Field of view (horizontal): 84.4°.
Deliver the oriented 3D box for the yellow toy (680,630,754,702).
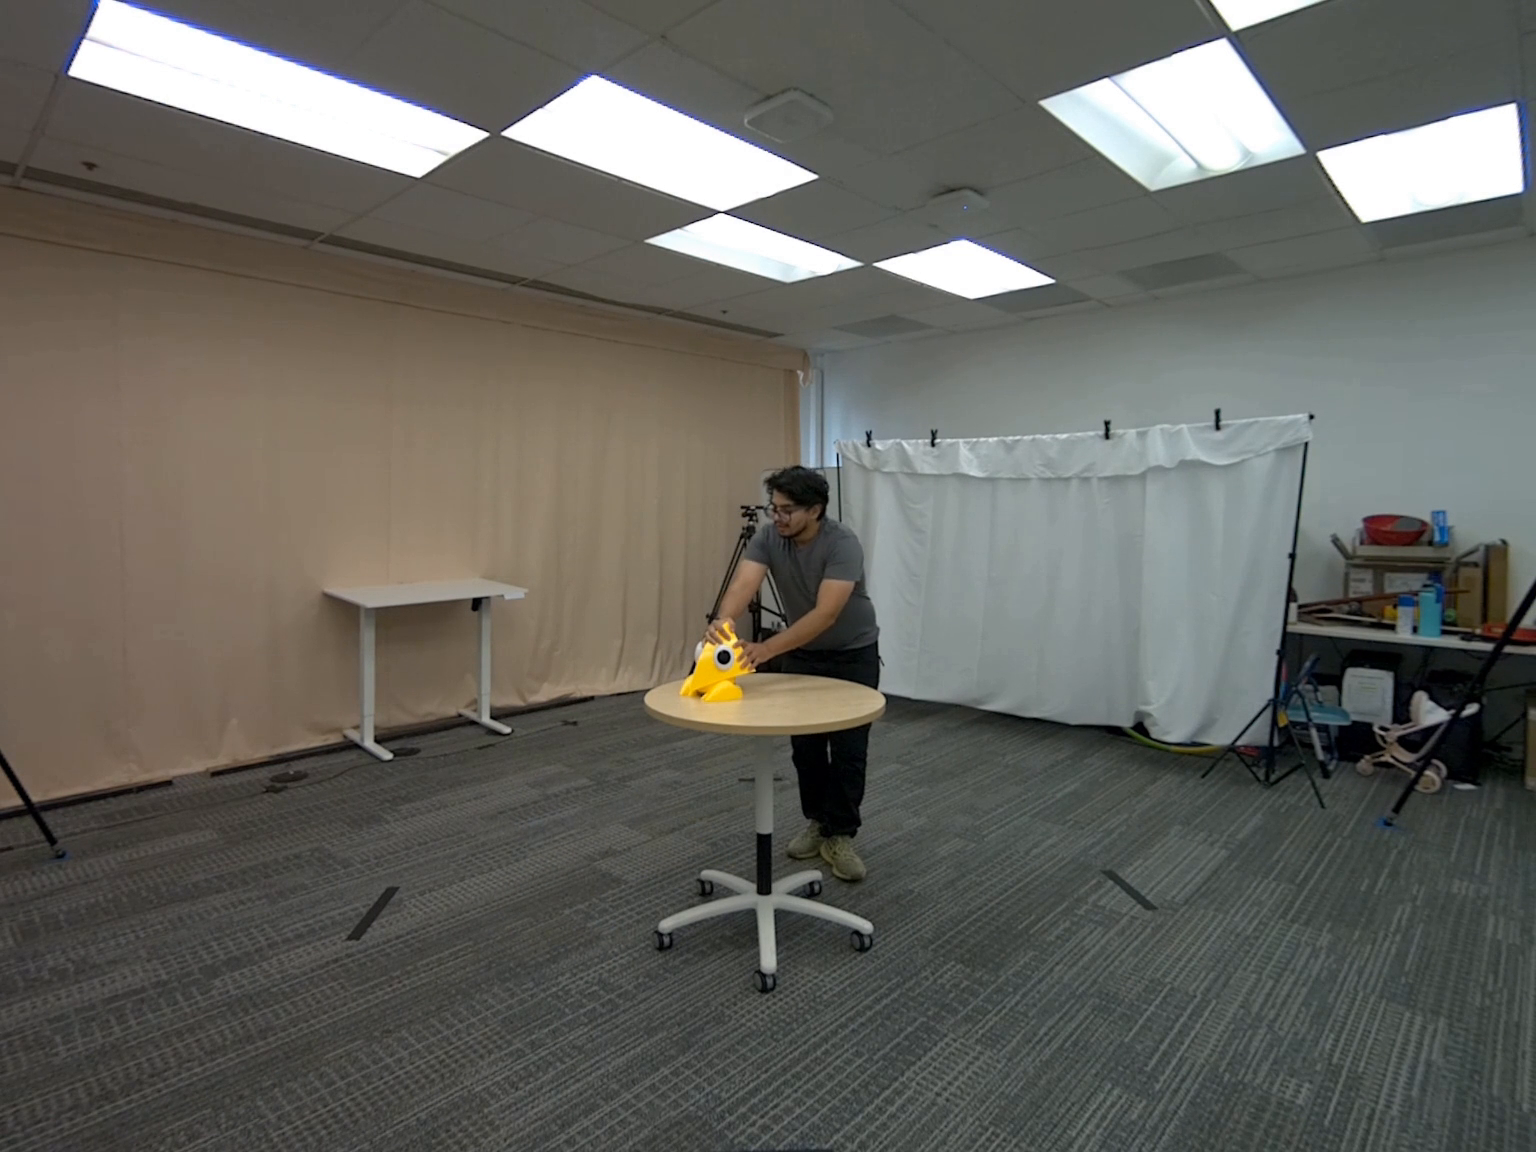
[{"bbox_3d":[-0.176,0.274,2.715,0.187,0.230,0.211,-5,6,-44],"label":"yellow toy"}]
